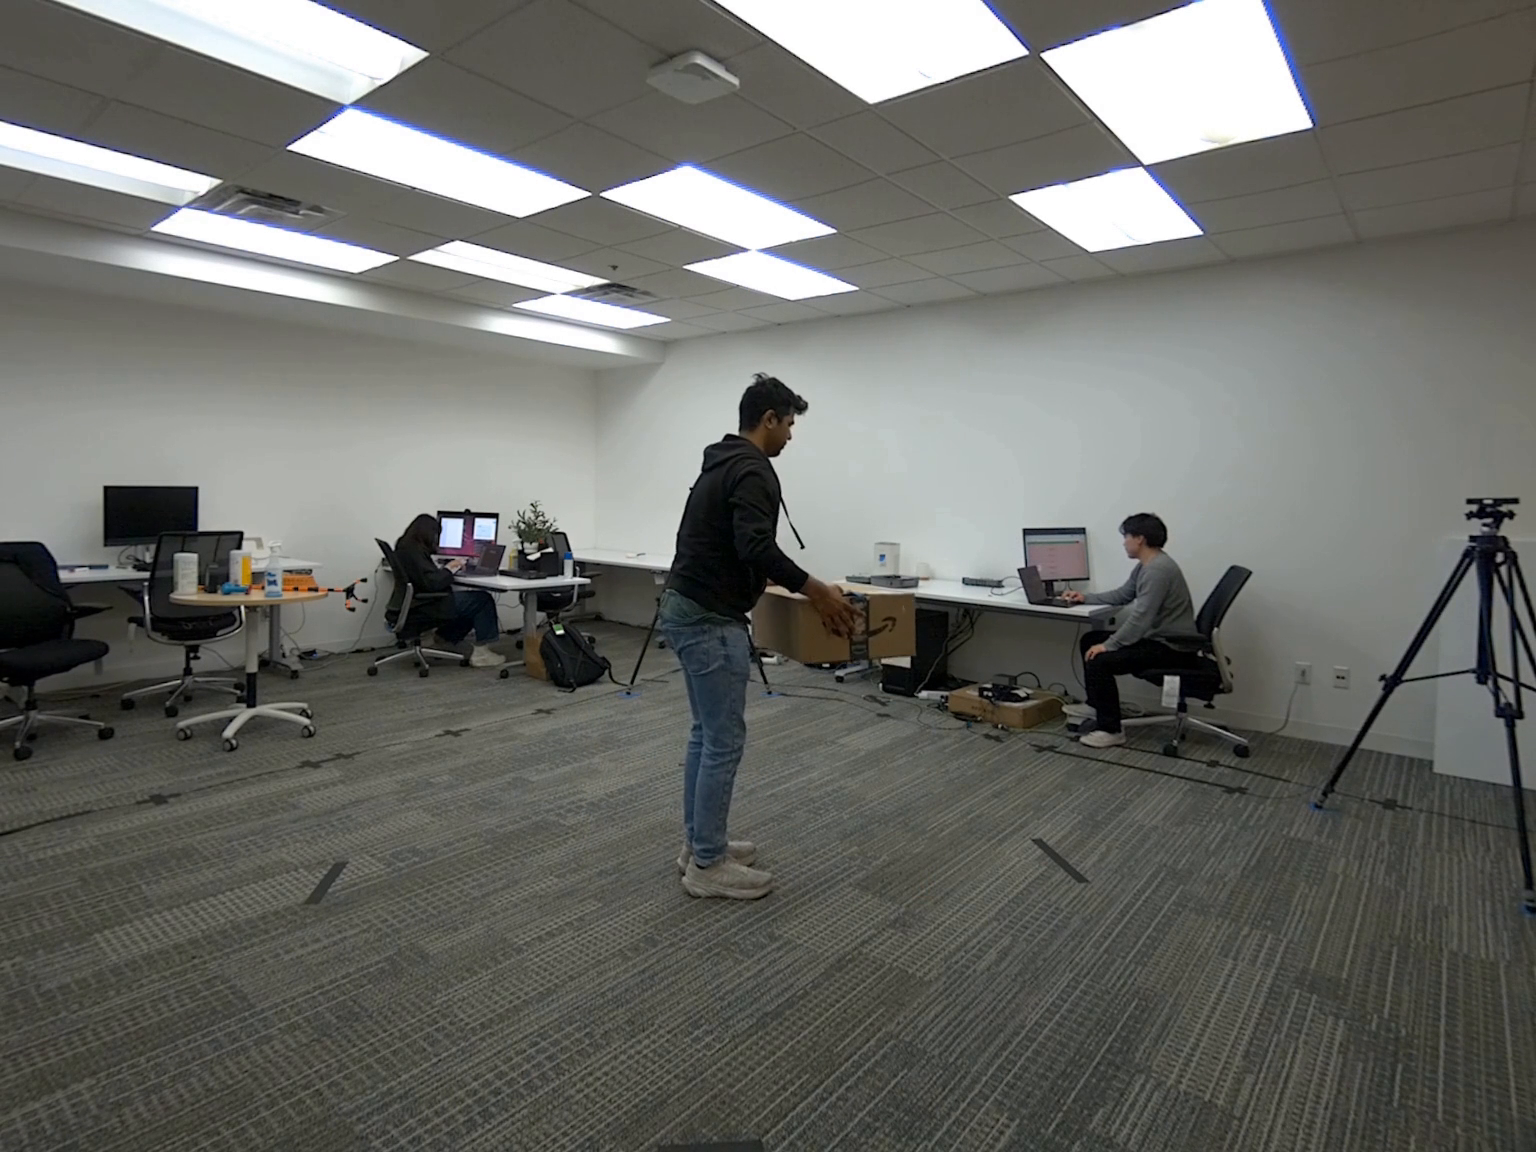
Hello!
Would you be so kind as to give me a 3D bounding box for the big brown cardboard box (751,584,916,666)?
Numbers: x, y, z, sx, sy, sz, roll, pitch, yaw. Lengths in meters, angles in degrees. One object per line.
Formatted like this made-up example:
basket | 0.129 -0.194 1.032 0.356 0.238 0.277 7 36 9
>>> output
big brown cardboard box | 0.205 0.166 3.097 0.411 0.233 0.599 -2 3 -17
